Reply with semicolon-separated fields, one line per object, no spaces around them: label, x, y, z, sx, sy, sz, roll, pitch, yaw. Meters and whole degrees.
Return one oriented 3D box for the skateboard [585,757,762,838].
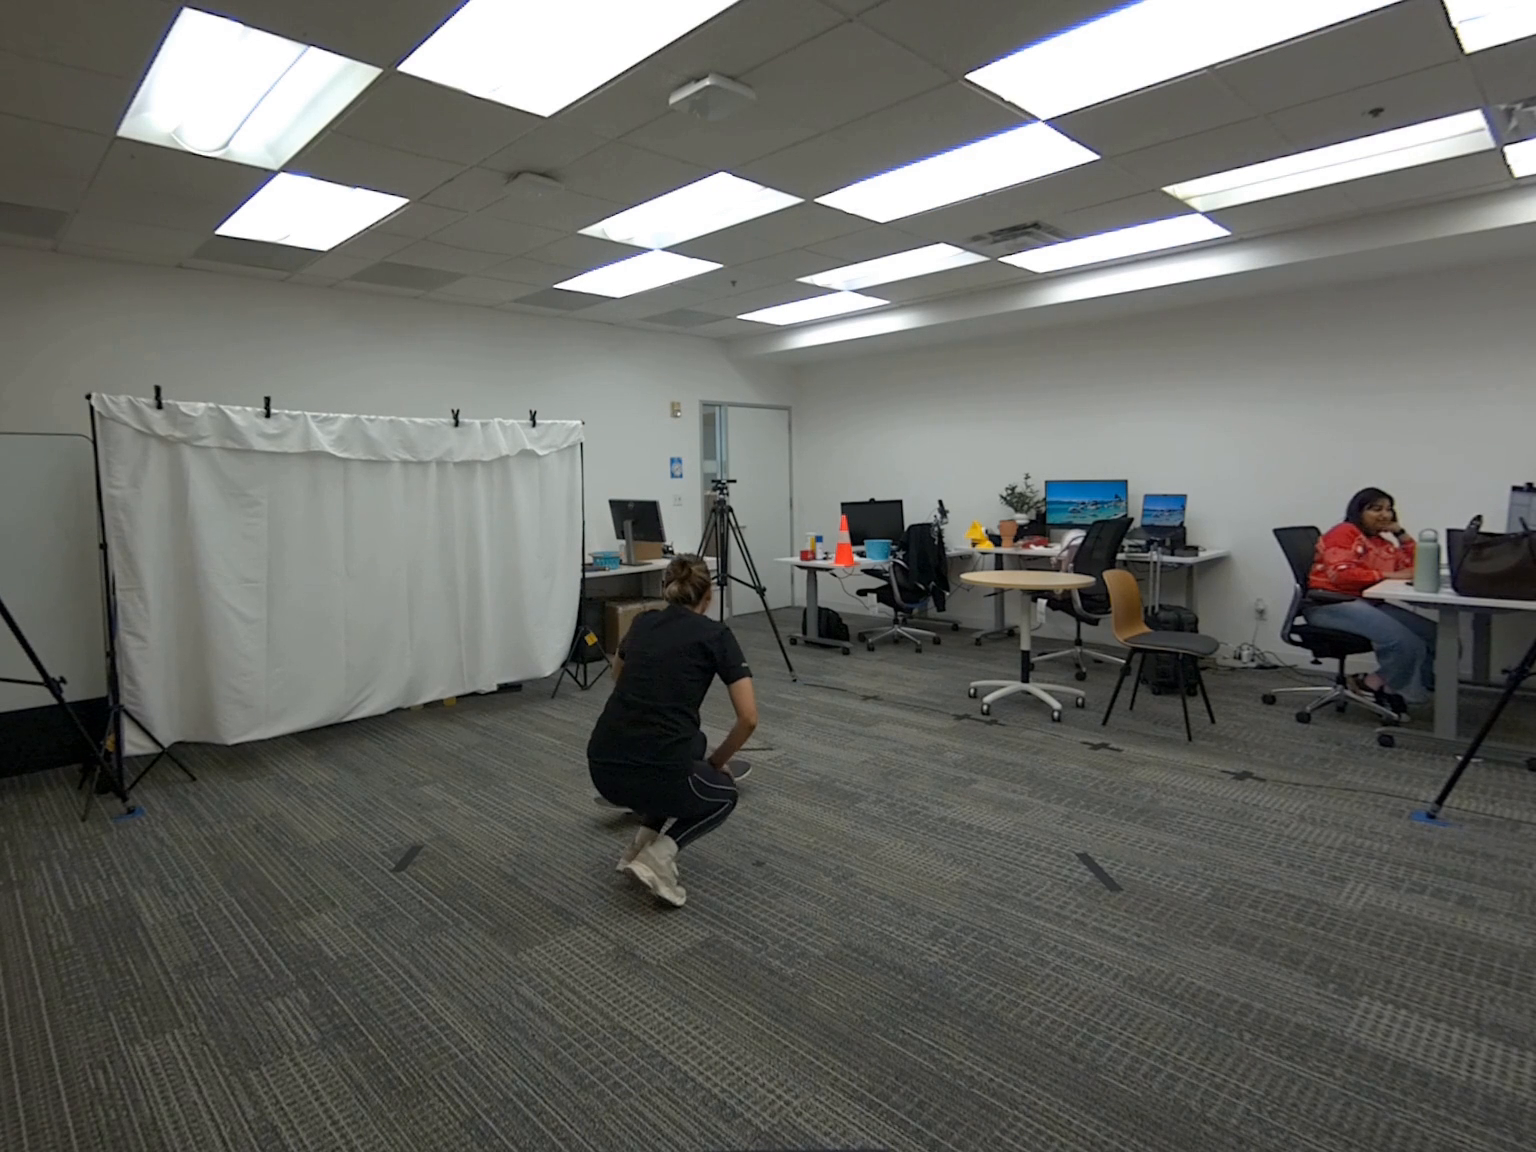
skateboard;-0.390;0.935;3.679;0.765;0.110;0.199;-6;7;-39
